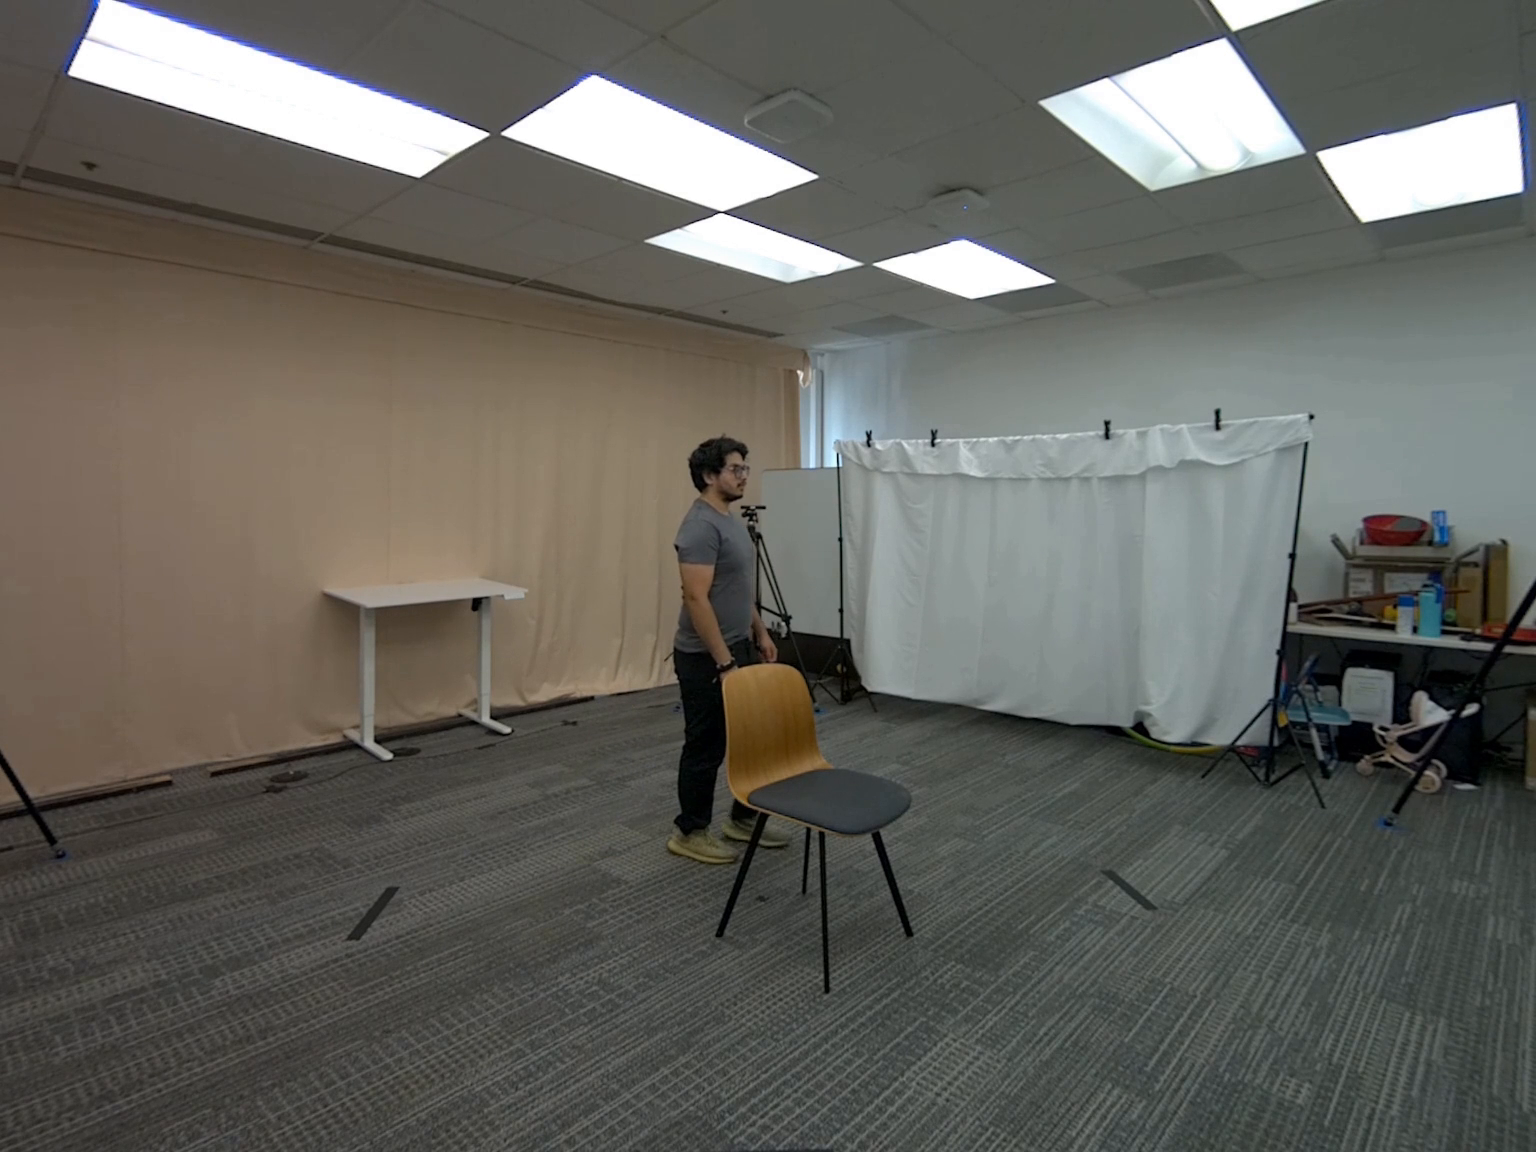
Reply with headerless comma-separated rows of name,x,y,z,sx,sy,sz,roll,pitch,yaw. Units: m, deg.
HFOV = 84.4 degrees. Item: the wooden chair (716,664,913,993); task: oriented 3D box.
wooden chair,0.161,0.741,2.685,0.539,0.877,0.463,-3,0,43
